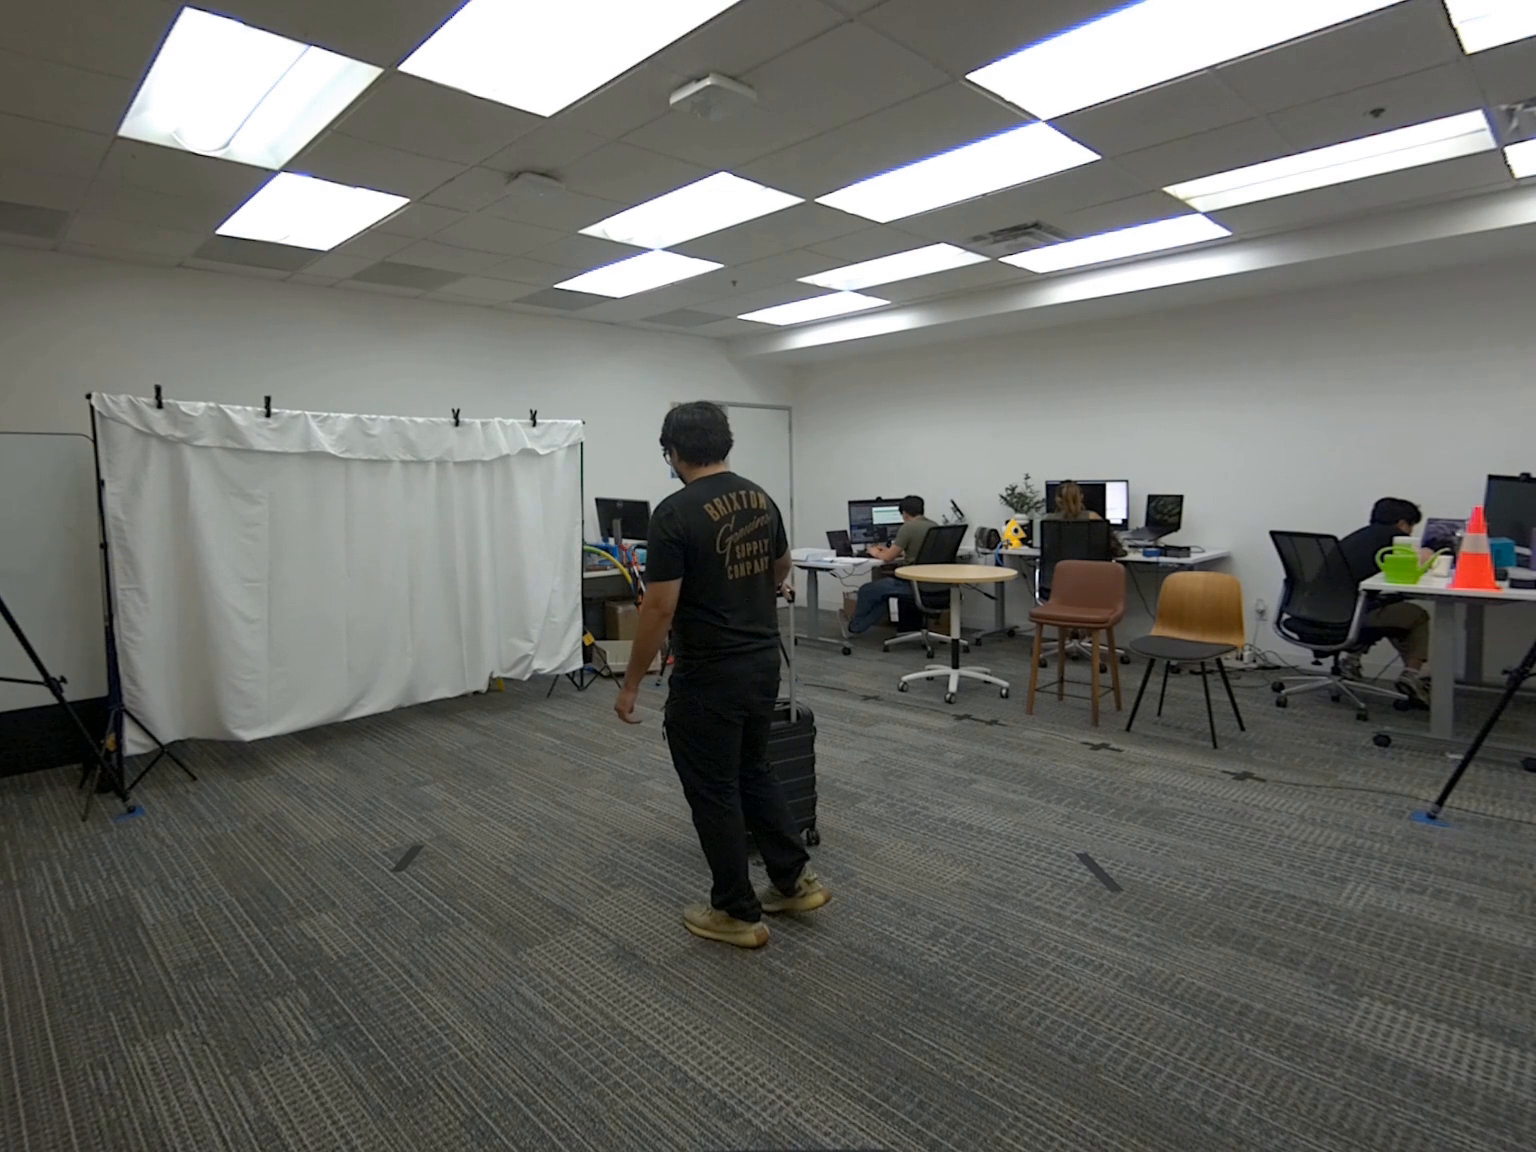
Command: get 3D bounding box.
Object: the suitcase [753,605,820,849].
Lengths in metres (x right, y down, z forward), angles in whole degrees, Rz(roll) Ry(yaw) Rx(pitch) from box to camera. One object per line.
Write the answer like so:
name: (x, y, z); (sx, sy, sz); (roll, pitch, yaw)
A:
suitcase: (-0.015, 0.554, 3.289); (0.375, 0.978, 0.263); (-1, 1, -28)
